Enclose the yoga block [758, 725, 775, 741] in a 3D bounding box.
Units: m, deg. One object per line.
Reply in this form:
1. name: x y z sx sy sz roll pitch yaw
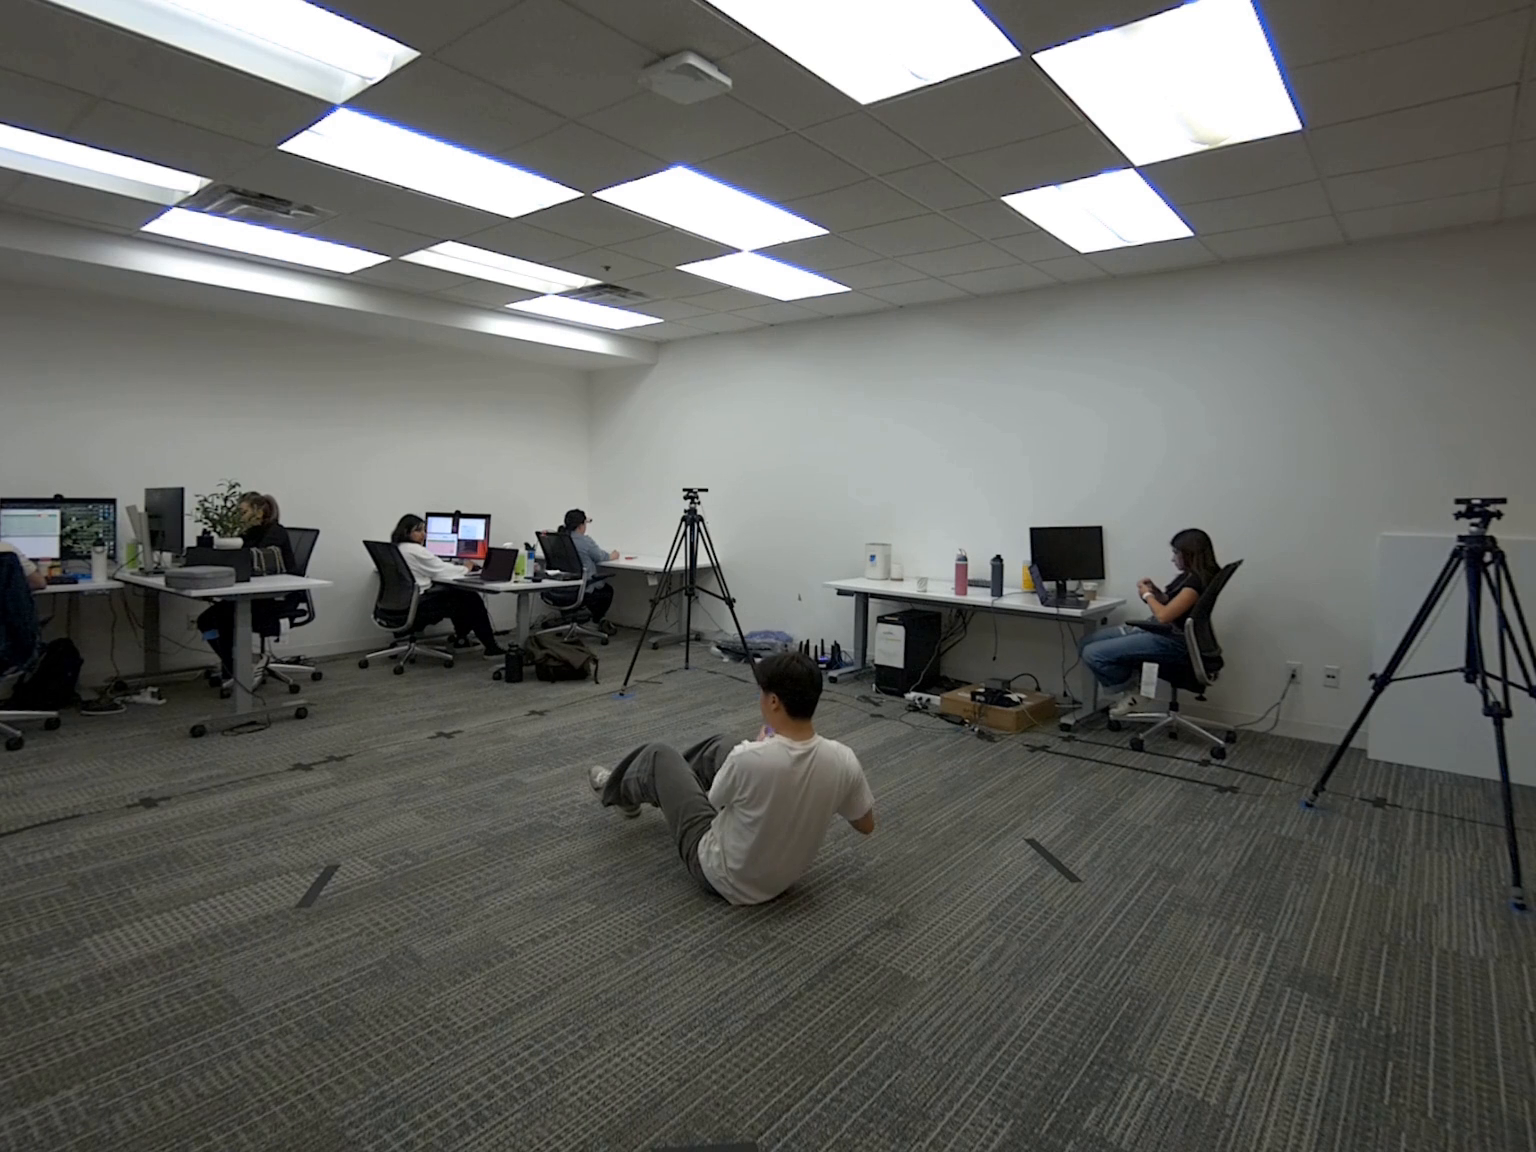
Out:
1. yoga block: 0.093 0.663 3.205 0.226 0.076 0.152 27 35 -10
